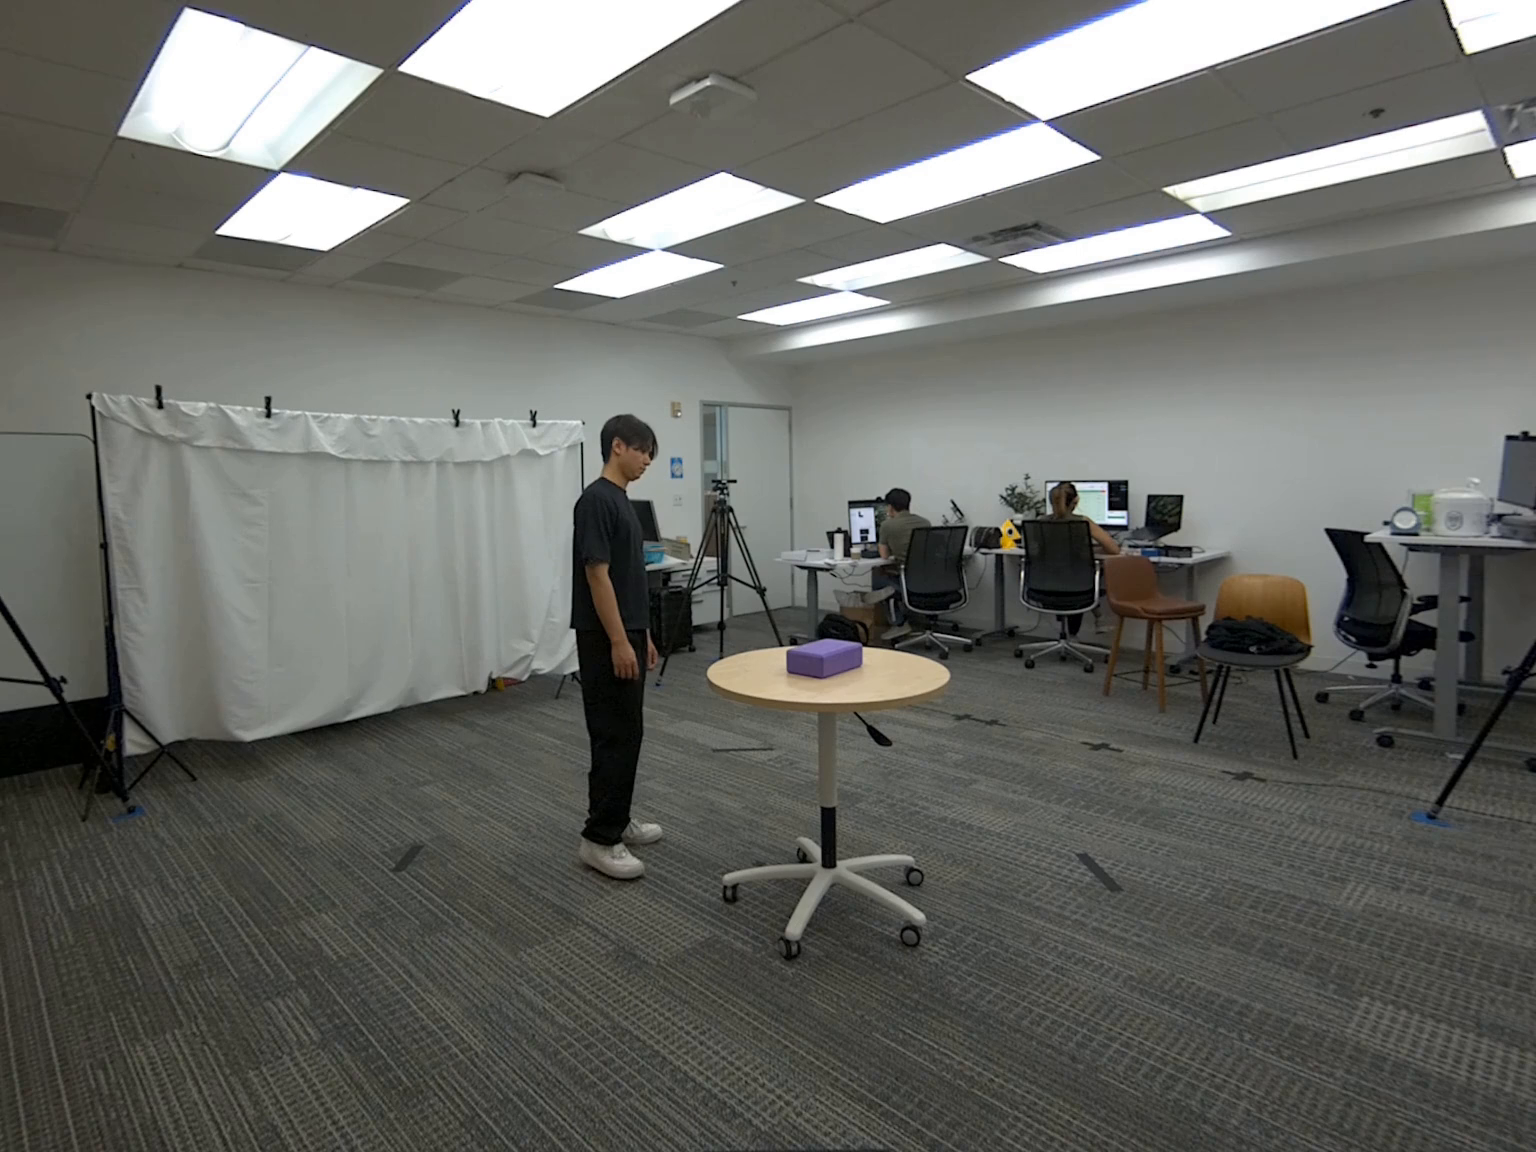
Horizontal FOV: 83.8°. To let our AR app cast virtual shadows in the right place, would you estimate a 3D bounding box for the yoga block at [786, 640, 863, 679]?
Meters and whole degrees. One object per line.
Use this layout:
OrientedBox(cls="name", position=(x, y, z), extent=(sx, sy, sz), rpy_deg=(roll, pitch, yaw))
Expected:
OrientedBox(cls="yoga block", position=(0.184, 0.262, 2.742), extent=(0.153, 0.076, 0.223), rpy_deg=(5, 9, 40))
